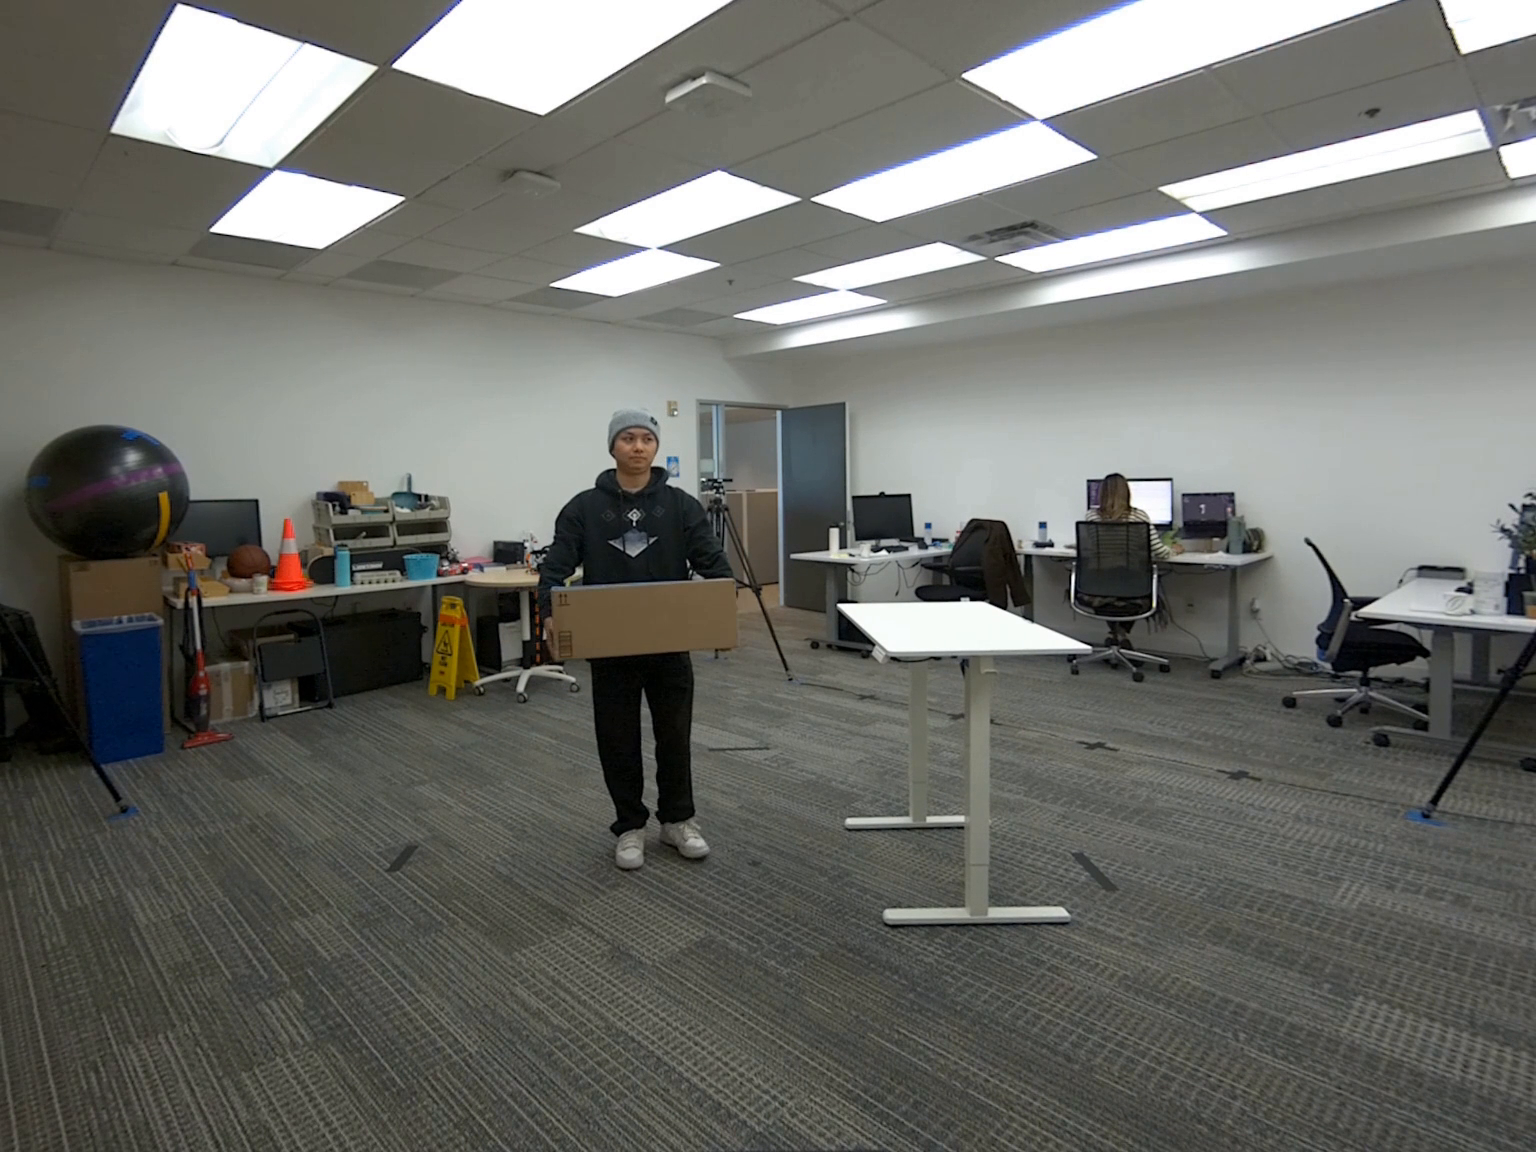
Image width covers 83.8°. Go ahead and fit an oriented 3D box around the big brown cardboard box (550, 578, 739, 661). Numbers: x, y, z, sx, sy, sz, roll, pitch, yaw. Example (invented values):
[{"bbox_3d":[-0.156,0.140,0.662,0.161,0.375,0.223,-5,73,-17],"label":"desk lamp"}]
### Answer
[{"bbox_3d":[-0.417,0.139,2.813,0.583,0.234,0.420,-3,-1,-10],"label":"big brown cardboard box"}]
